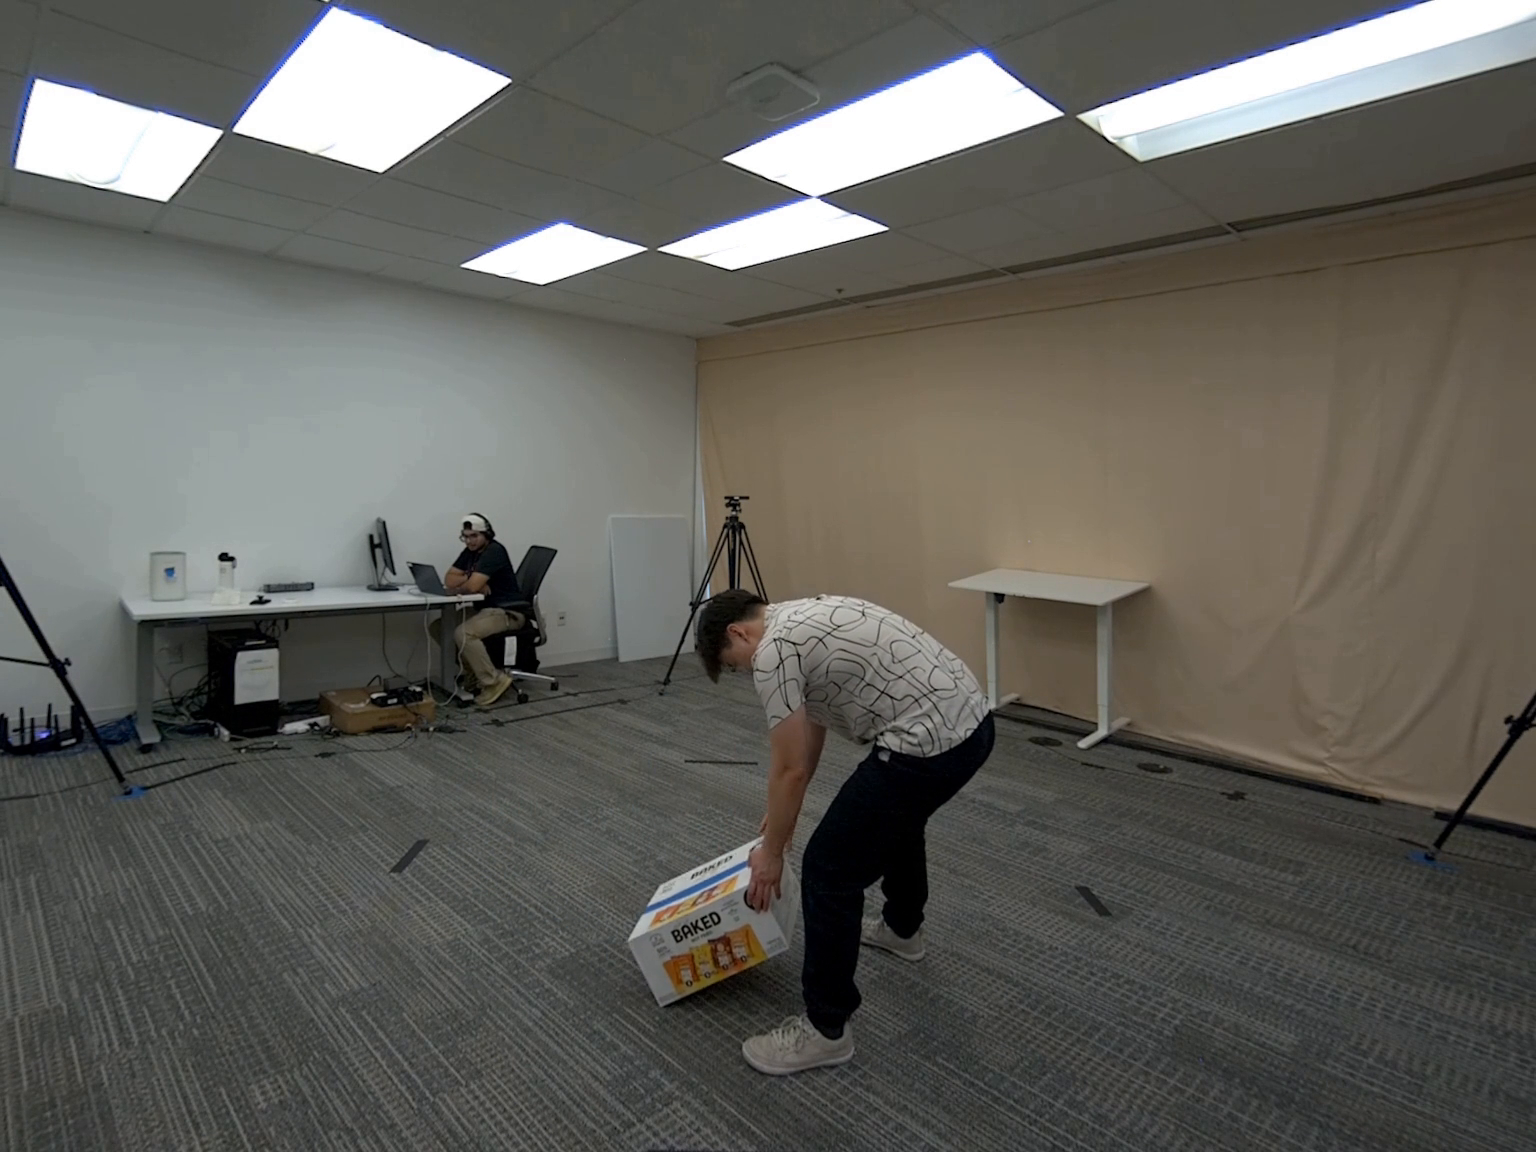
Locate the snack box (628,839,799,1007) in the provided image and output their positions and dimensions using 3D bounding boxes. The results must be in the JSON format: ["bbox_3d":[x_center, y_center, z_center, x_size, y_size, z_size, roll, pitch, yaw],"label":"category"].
[{"bbox_3d":[-0.145,0.979,2.418,0.406,0.206,0.339,-29,0,10],"label":"snack box"}]
